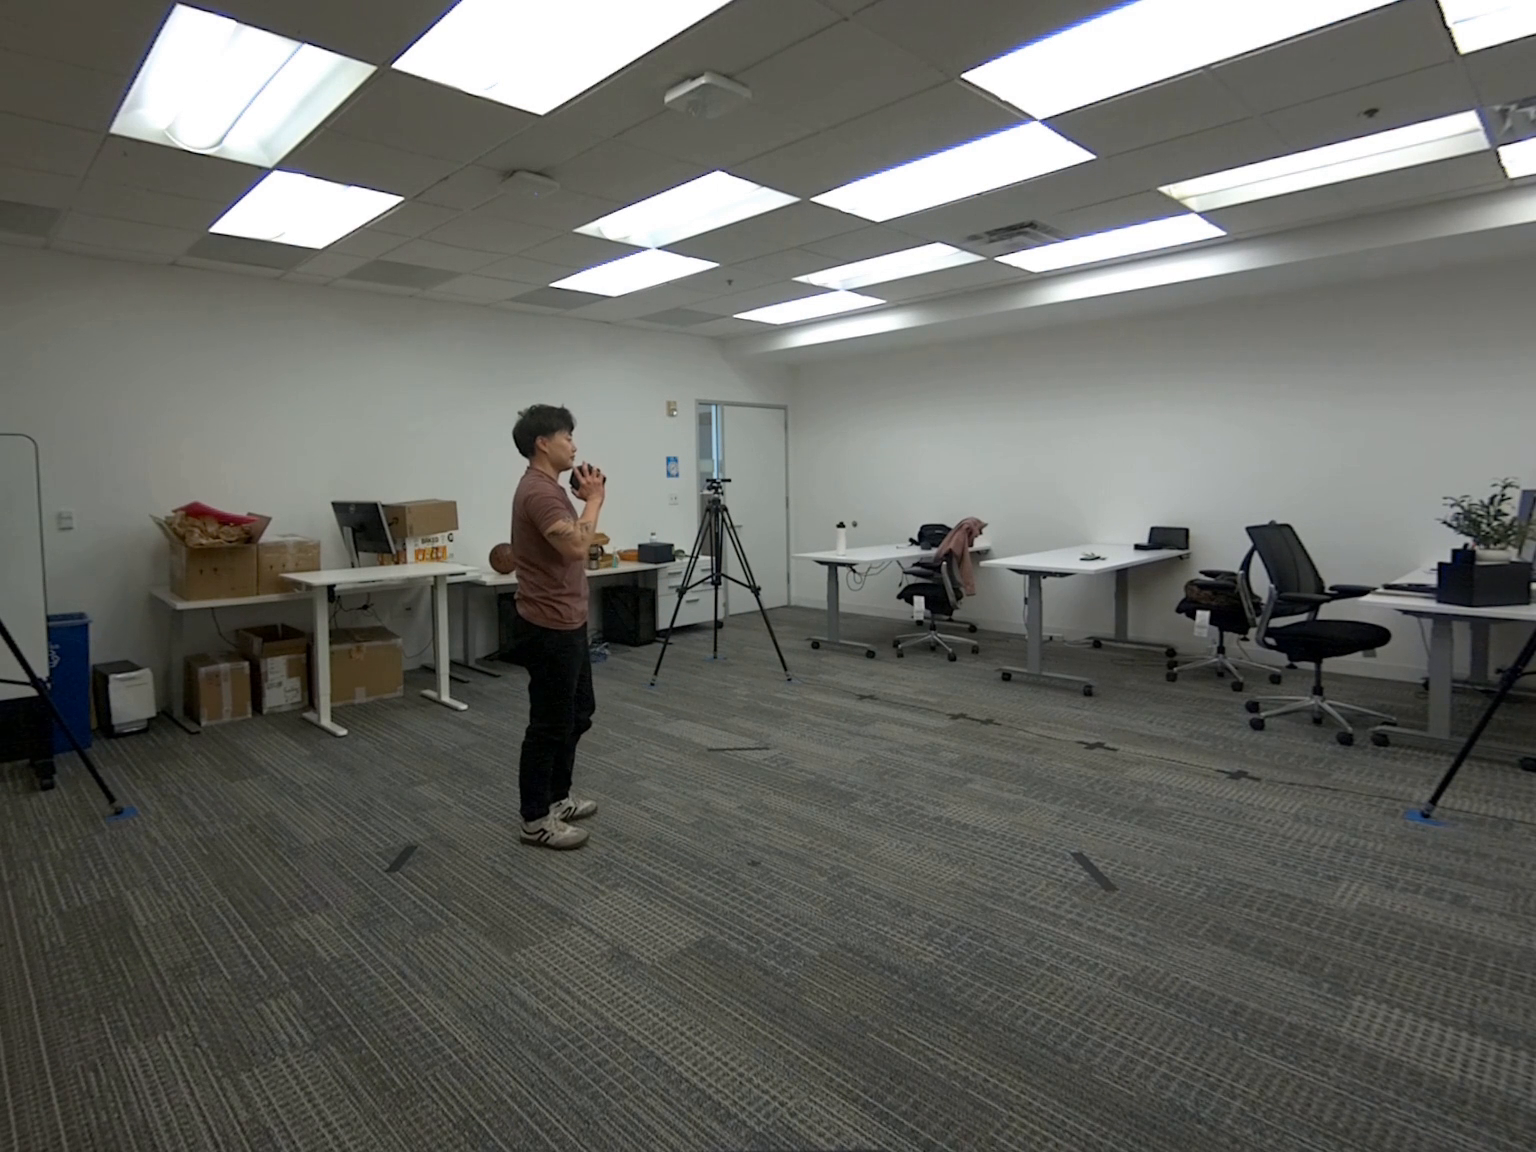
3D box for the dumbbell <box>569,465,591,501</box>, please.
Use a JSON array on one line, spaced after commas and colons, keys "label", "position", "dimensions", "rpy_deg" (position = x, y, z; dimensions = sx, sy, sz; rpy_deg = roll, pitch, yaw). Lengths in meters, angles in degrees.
[{"label": "dumbbell", "position": [-0.721, -0.374, 3.364], "dimensions": [0.122, 0.108, 0.296], "rpy_deg": [-19, 5, -6]}]
